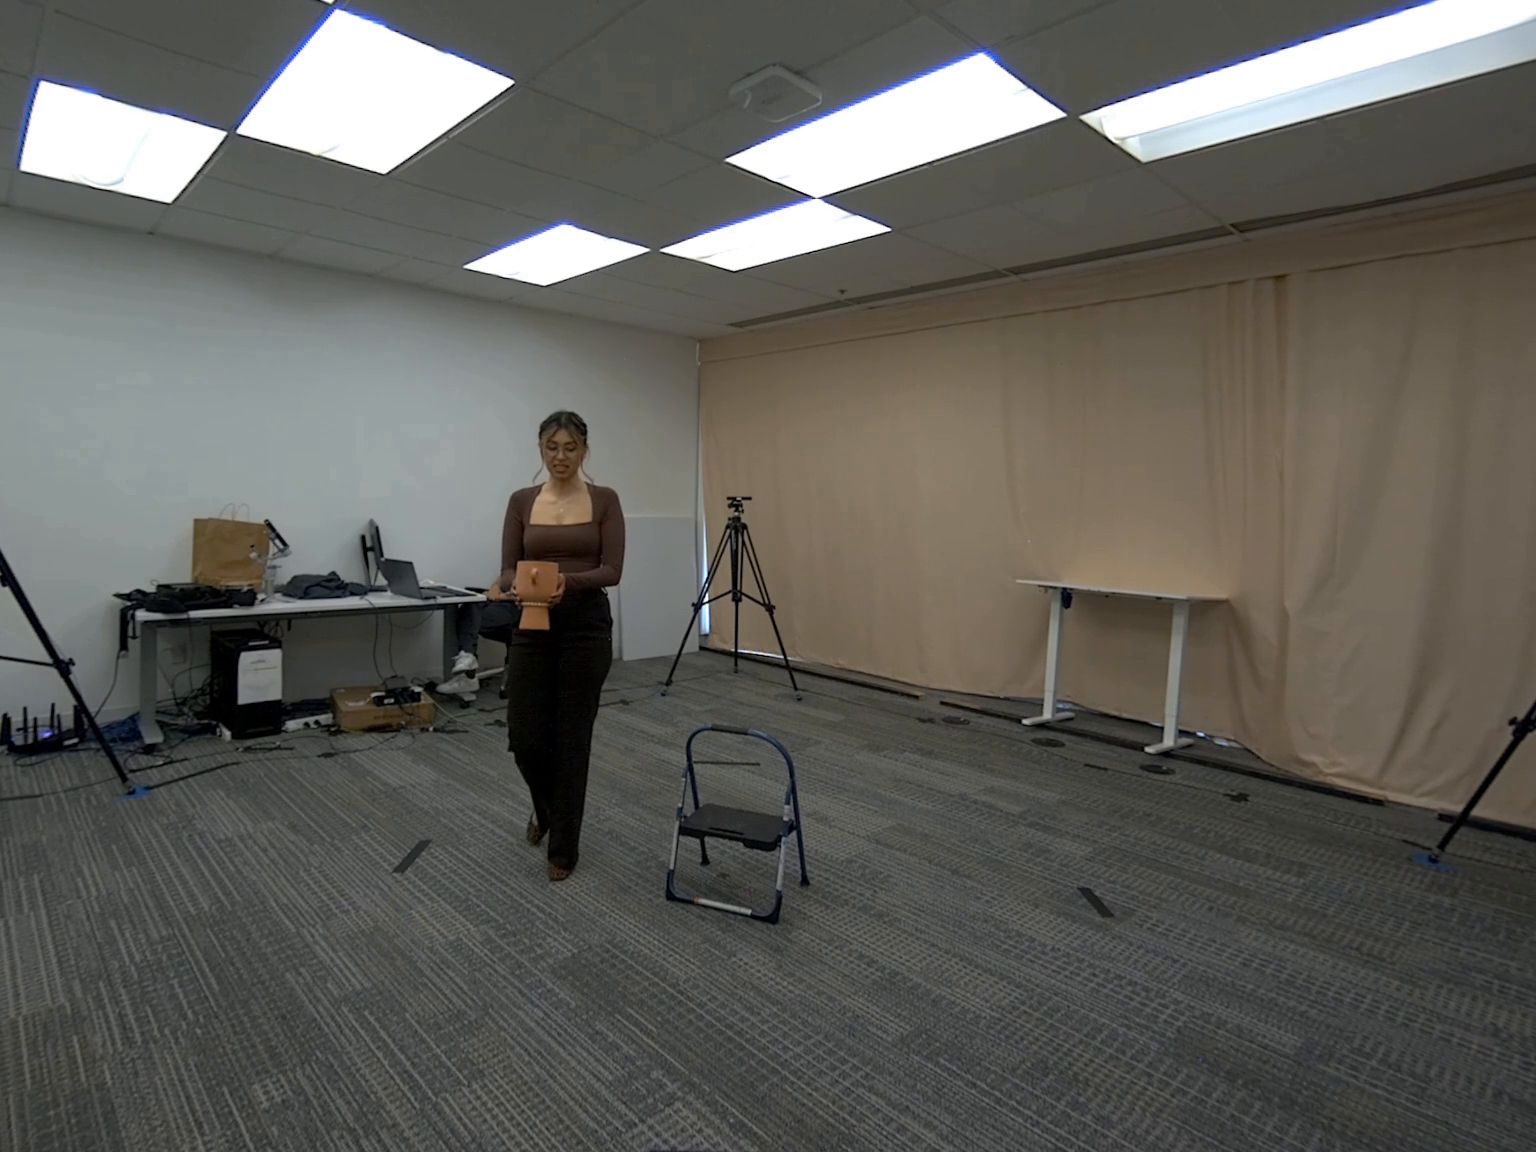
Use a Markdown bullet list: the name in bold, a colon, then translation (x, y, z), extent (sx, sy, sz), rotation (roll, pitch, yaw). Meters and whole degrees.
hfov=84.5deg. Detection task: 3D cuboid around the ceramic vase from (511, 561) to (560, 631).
- **ceramic vase**: translation (-0.784, 0.068, 2.775), extent (0.137, 0.220, 0.155), rotation (-1, -4, 34)
